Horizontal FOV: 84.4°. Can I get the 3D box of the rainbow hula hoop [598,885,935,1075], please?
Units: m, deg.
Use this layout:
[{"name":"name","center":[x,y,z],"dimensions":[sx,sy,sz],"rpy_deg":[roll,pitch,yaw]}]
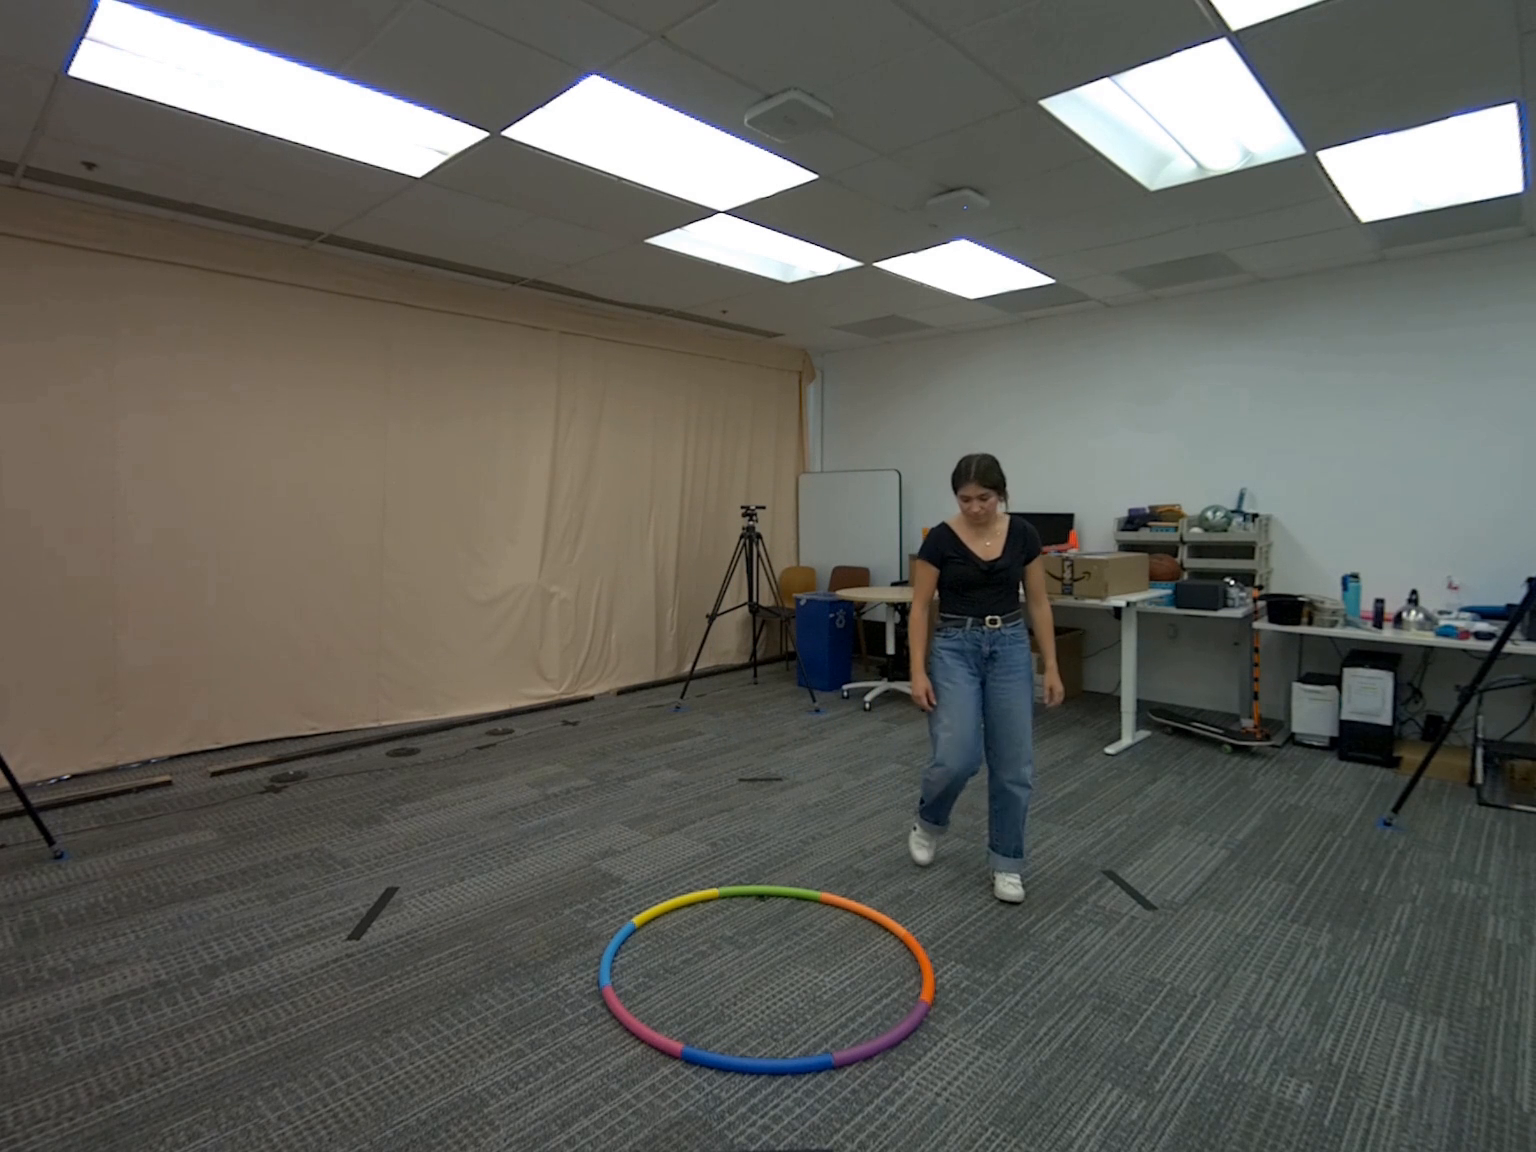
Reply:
[{"name":"rainbow hula hoop","center":[-0.001,1.151,2.543],"dimensions":[0.978,0.035,0.982],"rpy_deg":[0,5,-2]}]
